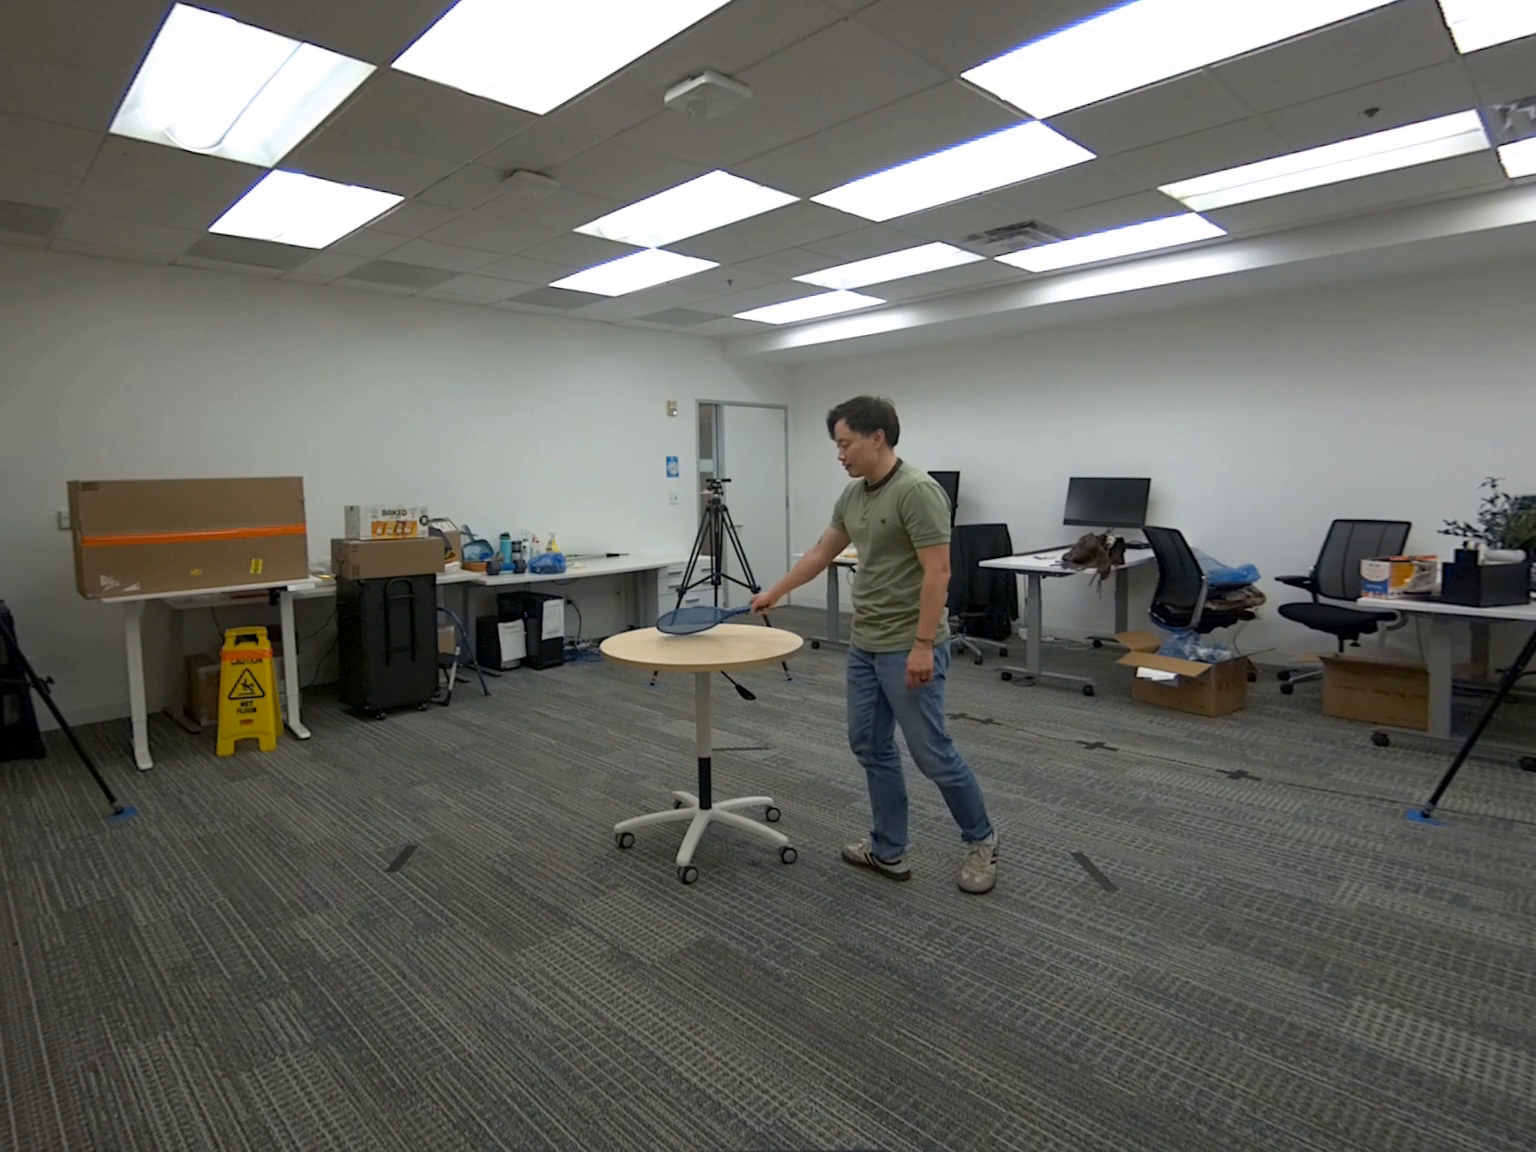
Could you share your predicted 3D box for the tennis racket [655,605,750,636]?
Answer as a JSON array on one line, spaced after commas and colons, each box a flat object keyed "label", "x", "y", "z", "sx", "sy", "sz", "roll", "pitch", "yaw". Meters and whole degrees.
[{"label": "tennis racket", "x": -0.213, "y": 0.157, "z": 3.291, "sx": 0.435, "sy": 0.032, "sz": 0.207, "roll": -10, "pitch": -27, "yaw": 7}]
